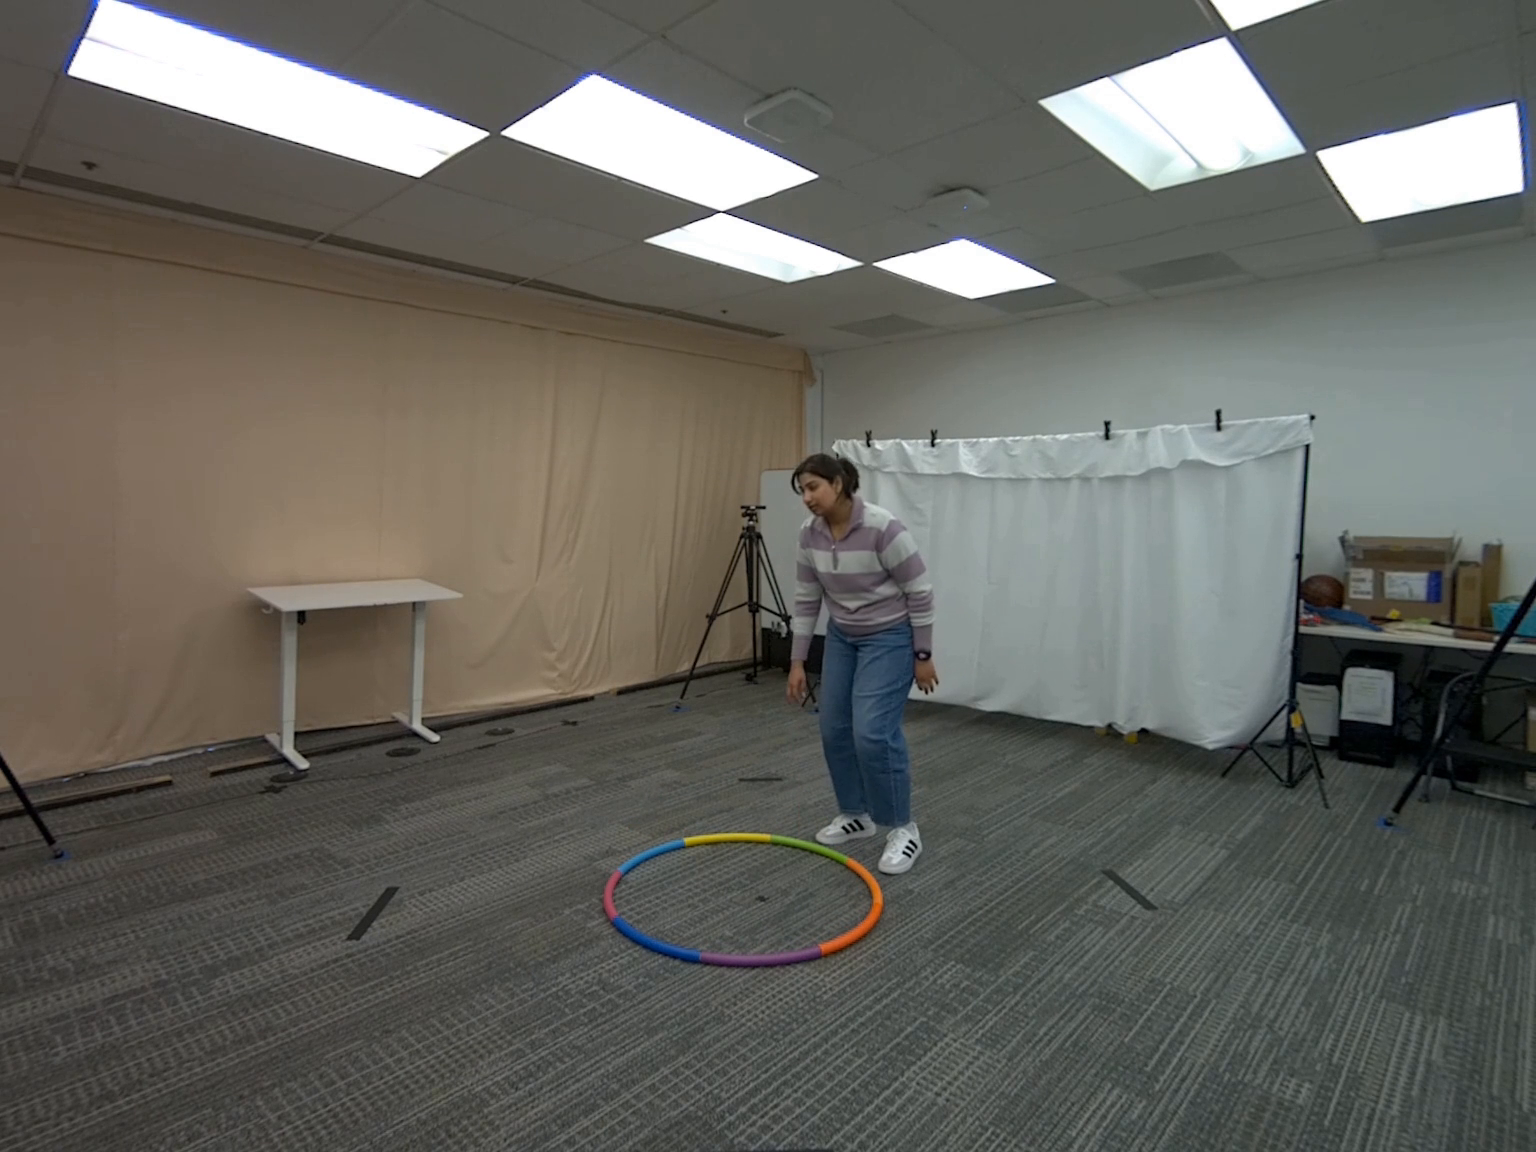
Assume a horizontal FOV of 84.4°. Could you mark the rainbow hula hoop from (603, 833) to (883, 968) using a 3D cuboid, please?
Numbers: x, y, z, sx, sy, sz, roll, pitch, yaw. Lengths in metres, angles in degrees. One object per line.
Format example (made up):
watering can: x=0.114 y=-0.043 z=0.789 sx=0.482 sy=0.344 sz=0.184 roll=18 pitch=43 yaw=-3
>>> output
rainbow hula hoop: x=-0.094 y=1.115 z=3.022 sx=0.984 sy=0.051 sz=0.989 roll=0 pitch=5 yaw=-2
